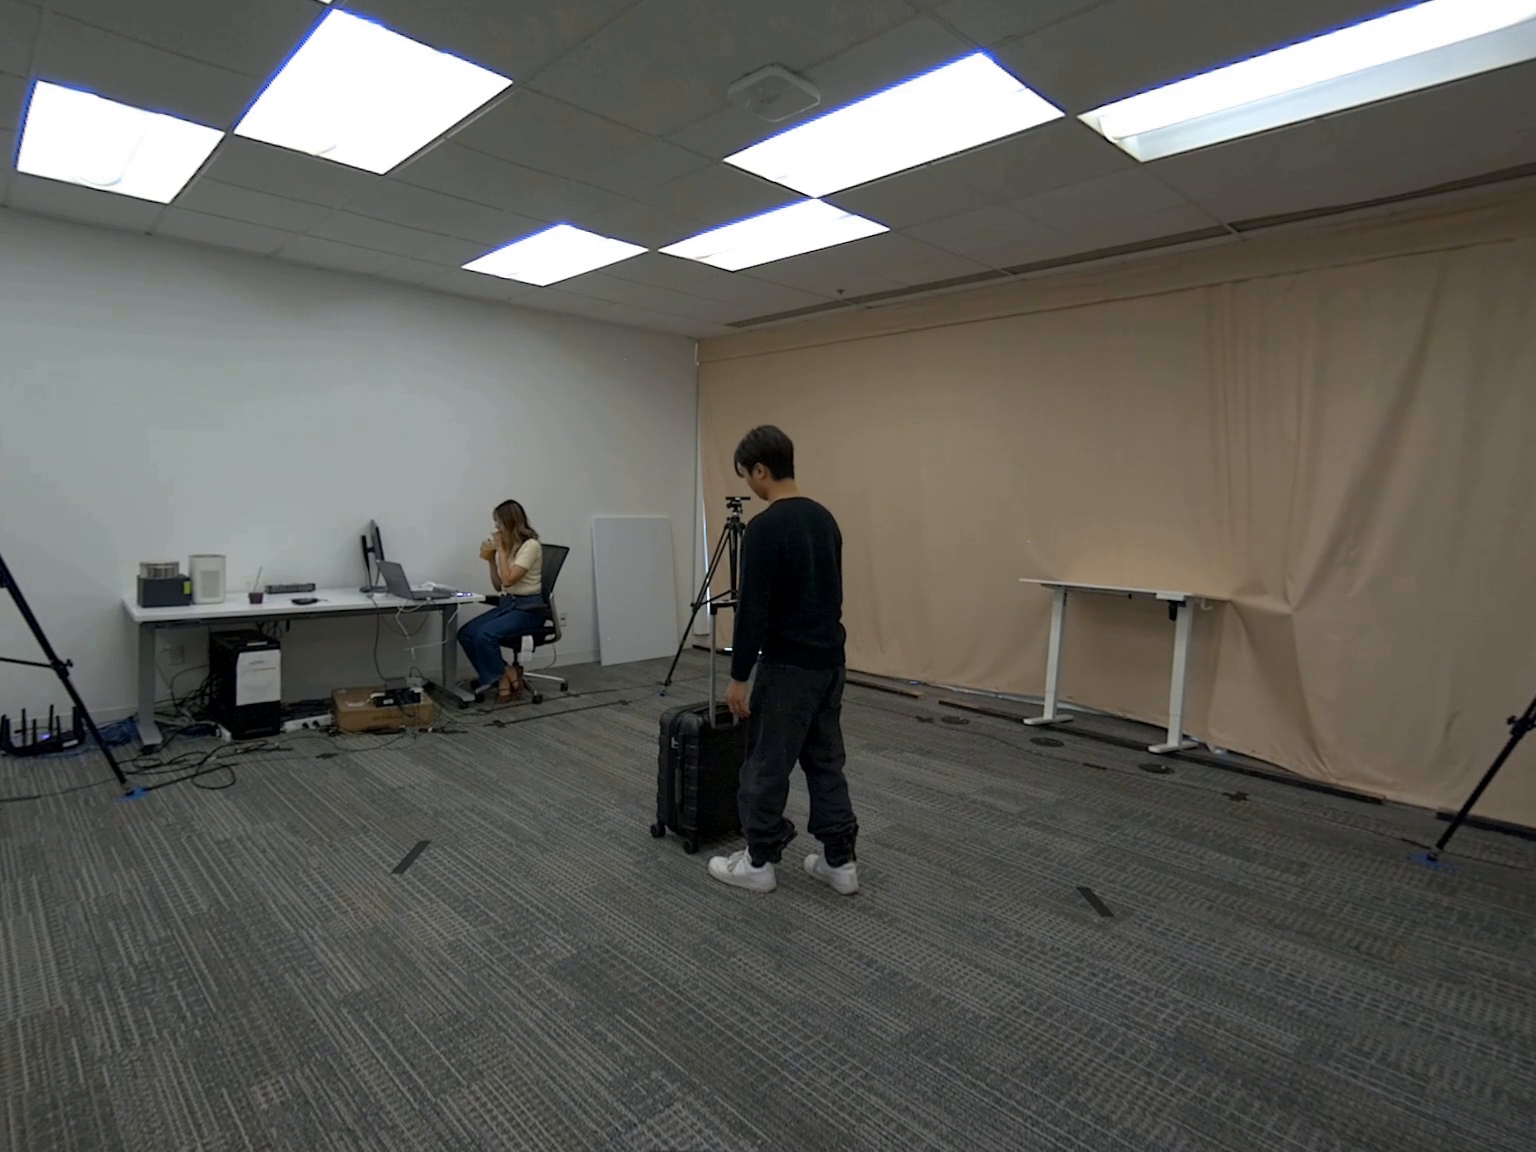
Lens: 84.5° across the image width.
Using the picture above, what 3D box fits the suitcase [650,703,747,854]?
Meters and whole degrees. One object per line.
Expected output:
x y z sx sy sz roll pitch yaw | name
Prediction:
-0.268 0.595 3.453 0.375 0.978 0.263 -1 1 -44 | suitcase
